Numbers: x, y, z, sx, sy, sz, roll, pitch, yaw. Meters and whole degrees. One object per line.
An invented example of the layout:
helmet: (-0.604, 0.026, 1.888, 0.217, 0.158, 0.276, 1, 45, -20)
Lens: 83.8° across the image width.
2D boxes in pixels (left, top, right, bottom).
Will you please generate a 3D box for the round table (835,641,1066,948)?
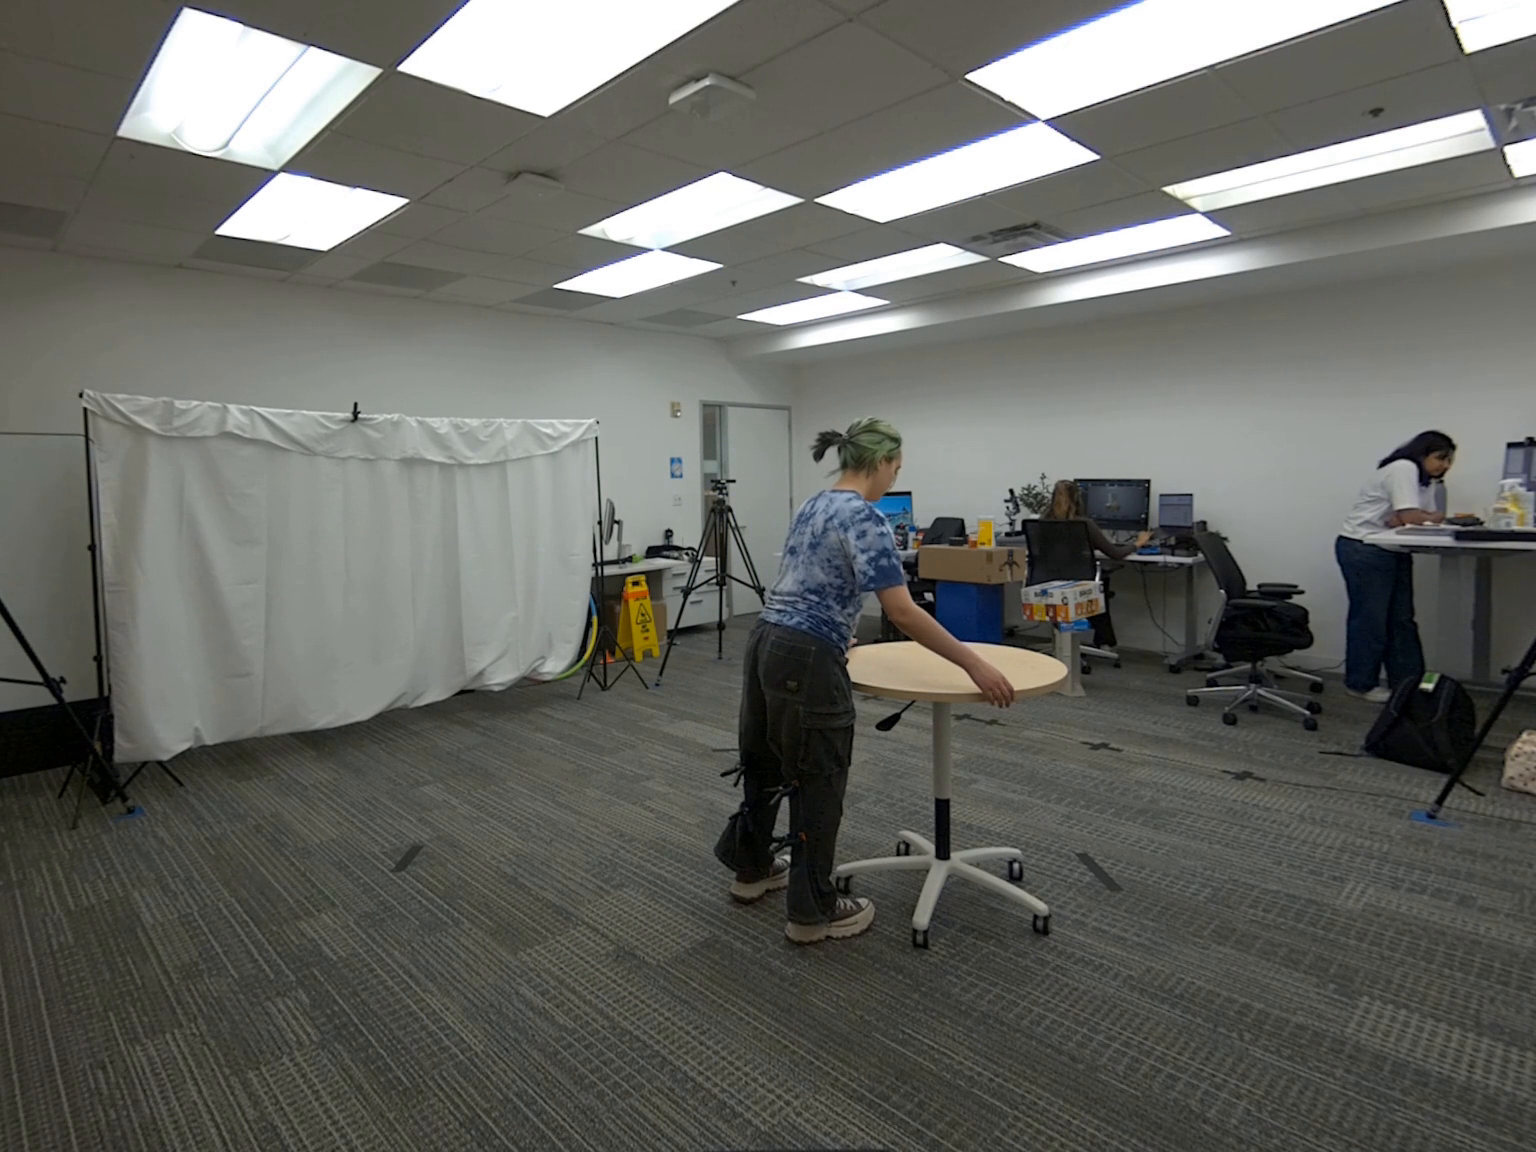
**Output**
round table: (0.573, 0.679, 2.803, 0.763, 0.791, 0.768, -1, 5, -2)
